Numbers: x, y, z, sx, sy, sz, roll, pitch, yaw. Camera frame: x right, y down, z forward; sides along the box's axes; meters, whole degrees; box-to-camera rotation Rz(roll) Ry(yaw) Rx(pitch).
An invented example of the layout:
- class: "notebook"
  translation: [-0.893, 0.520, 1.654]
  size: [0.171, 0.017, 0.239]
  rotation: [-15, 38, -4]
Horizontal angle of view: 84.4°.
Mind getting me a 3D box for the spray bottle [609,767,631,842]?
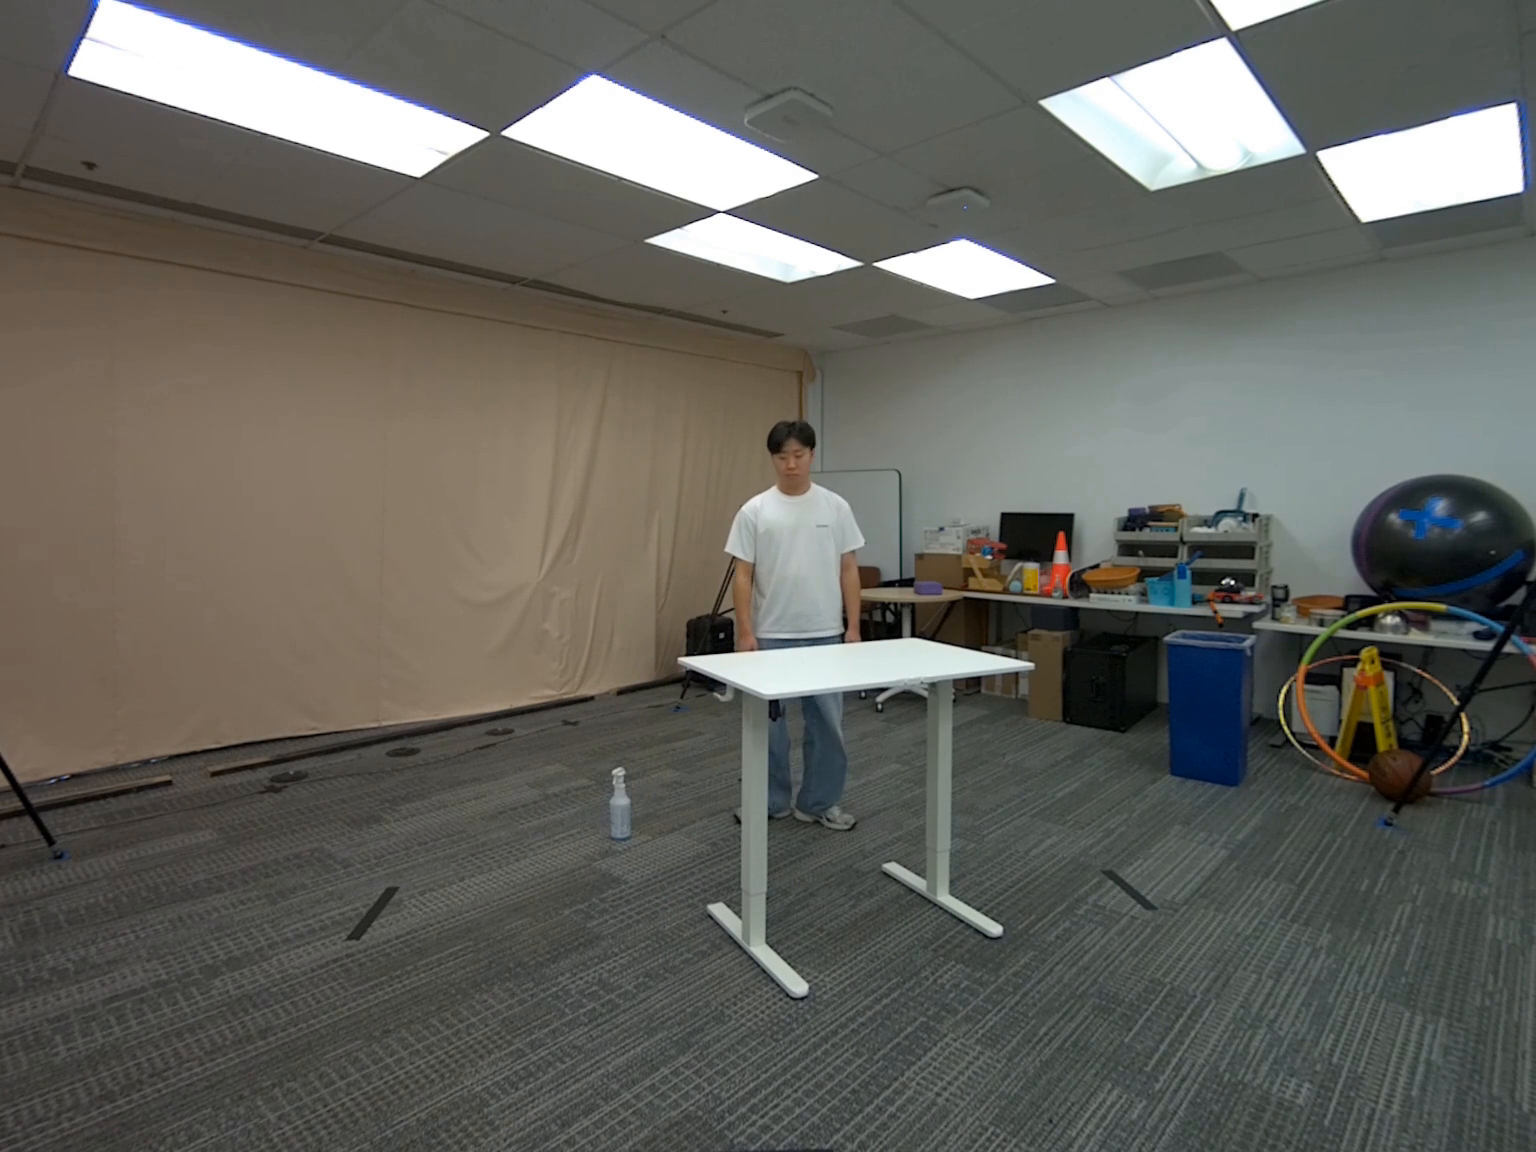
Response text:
- class: "spray bottle"
  translation: [-0.626, 0.959, 3.548]
  size: [0.087, 0.296, 0.090]
  rotation: [-3, 6, -42]
